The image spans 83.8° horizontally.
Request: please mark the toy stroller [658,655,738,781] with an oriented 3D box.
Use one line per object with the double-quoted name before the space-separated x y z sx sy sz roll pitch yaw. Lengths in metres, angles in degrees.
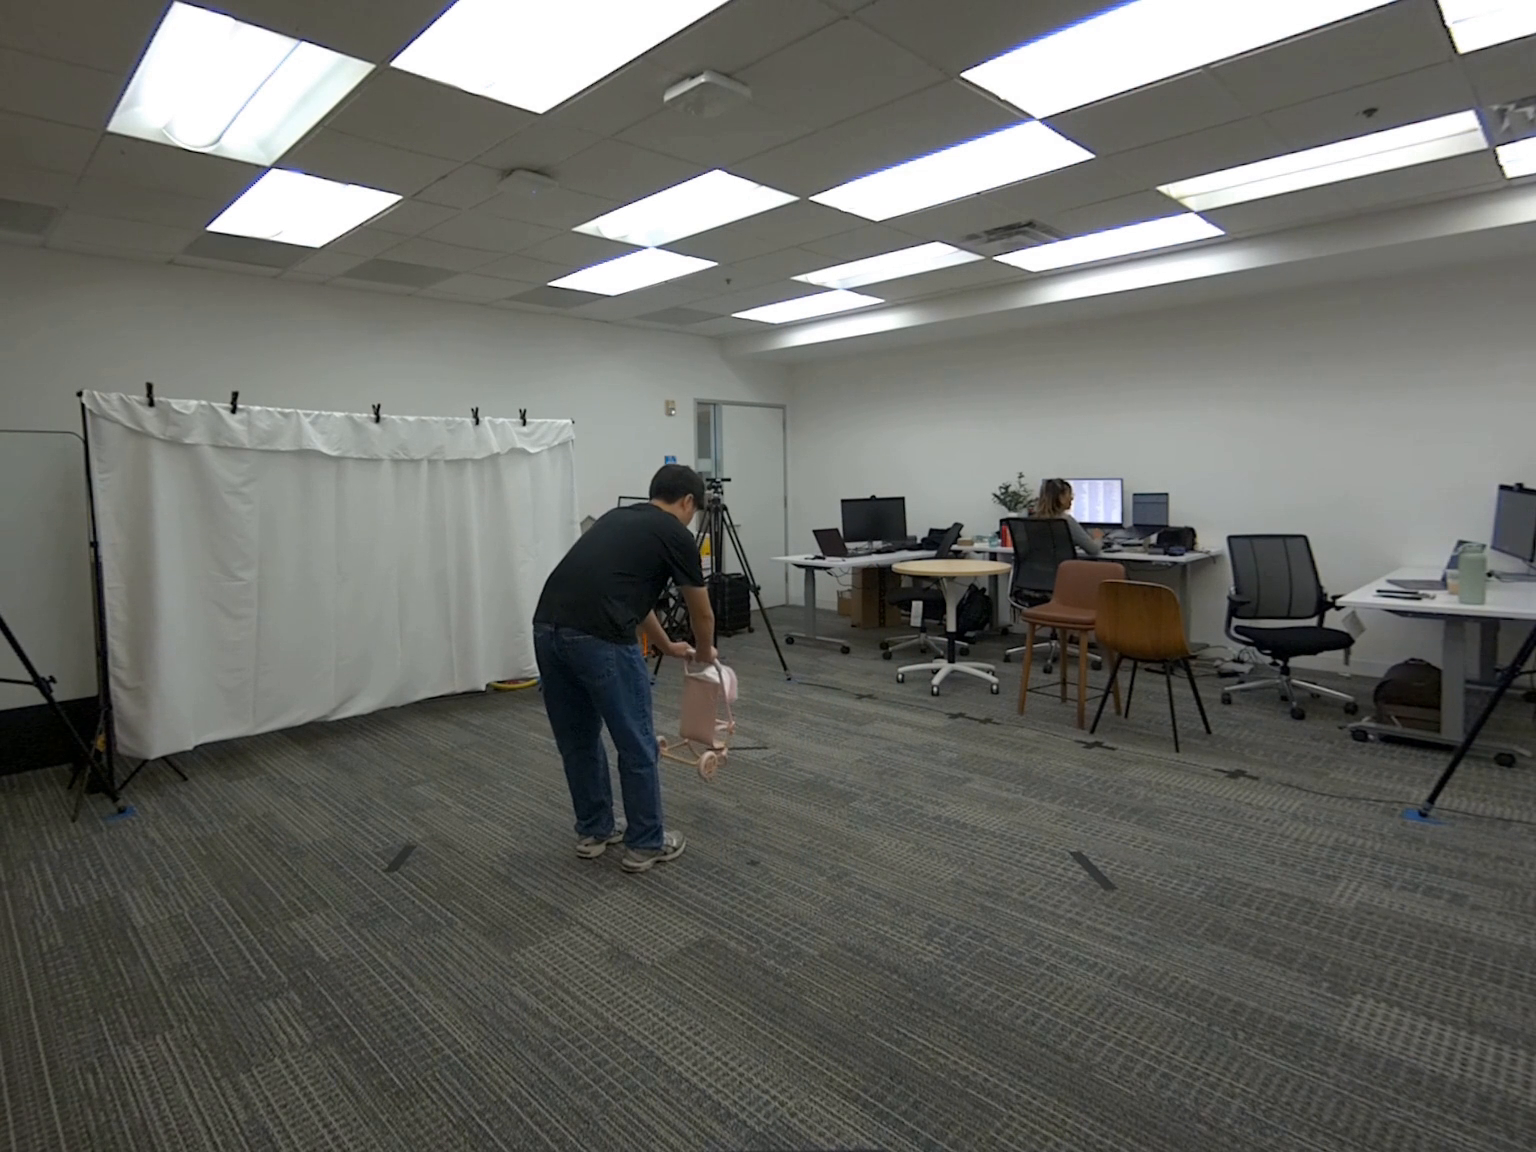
"toy stroller" -0.264 0.605 3.578 0.290 0.537 0.329 7 -8 35
